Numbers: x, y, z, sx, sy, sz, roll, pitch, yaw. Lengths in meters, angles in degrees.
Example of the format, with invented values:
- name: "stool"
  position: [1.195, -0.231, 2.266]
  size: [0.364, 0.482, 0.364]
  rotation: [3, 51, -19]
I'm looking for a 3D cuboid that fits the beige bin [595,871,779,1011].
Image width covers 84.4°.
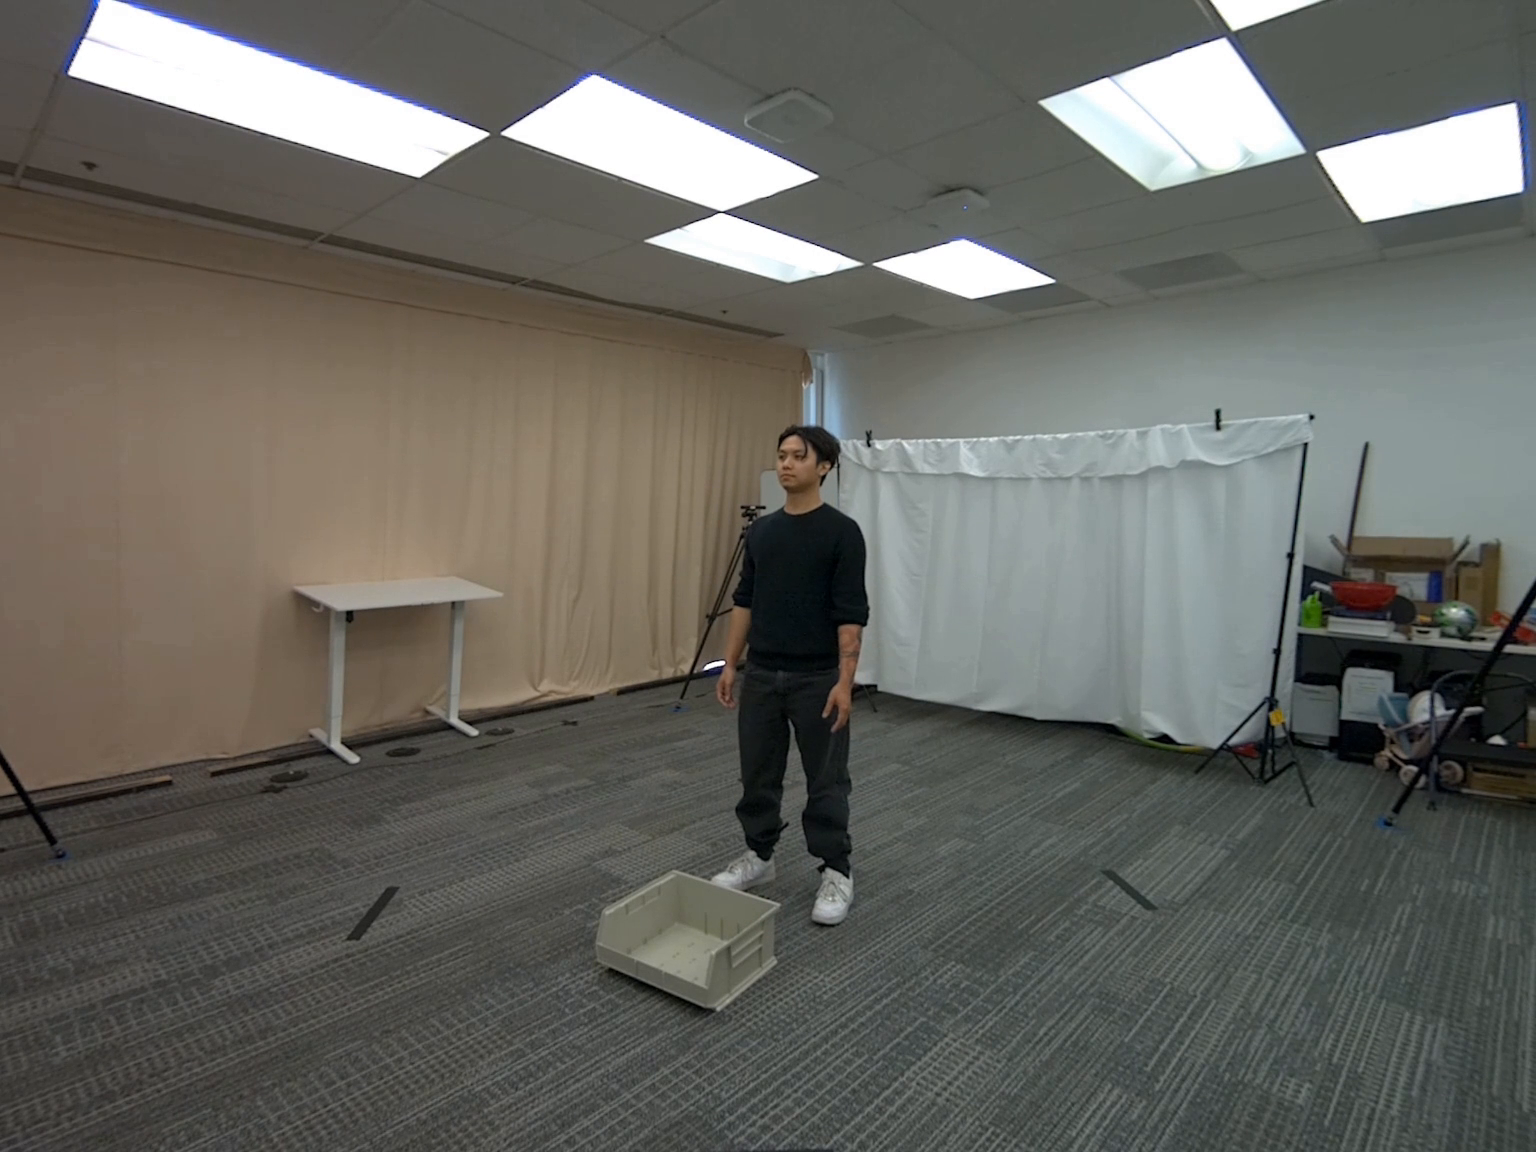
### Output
- name: "beige bin"
  position: [-0.237, 1.095, 2.537]
  size: [0.435, 0.188, 0.366]
  rotation: [2, 4, 34]
